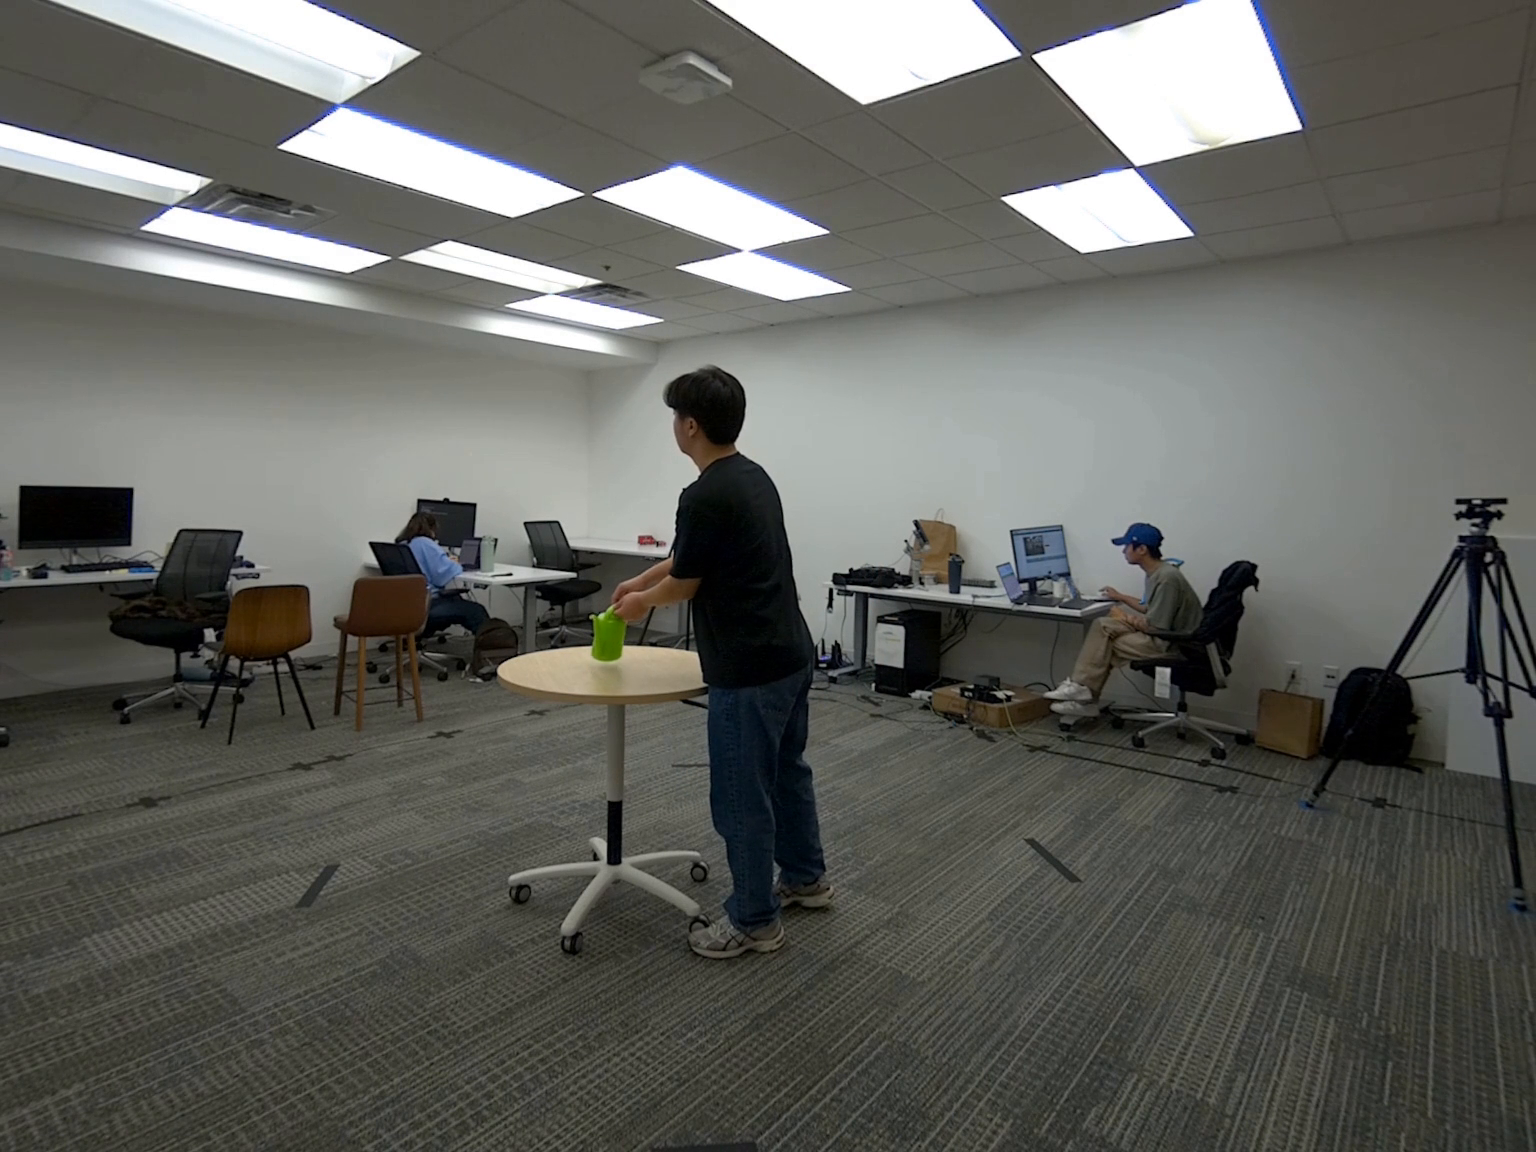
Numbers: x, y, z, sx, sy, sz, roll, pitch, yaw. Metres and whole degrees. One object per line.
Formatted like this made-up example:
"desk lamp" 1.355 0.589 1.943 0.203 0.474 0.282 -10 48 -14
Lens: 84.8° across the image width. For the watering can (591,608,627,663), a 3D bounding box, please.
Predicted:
"watering can" -0.543 0.185 2.752 0.101 0.176 0.272 13 9 23
